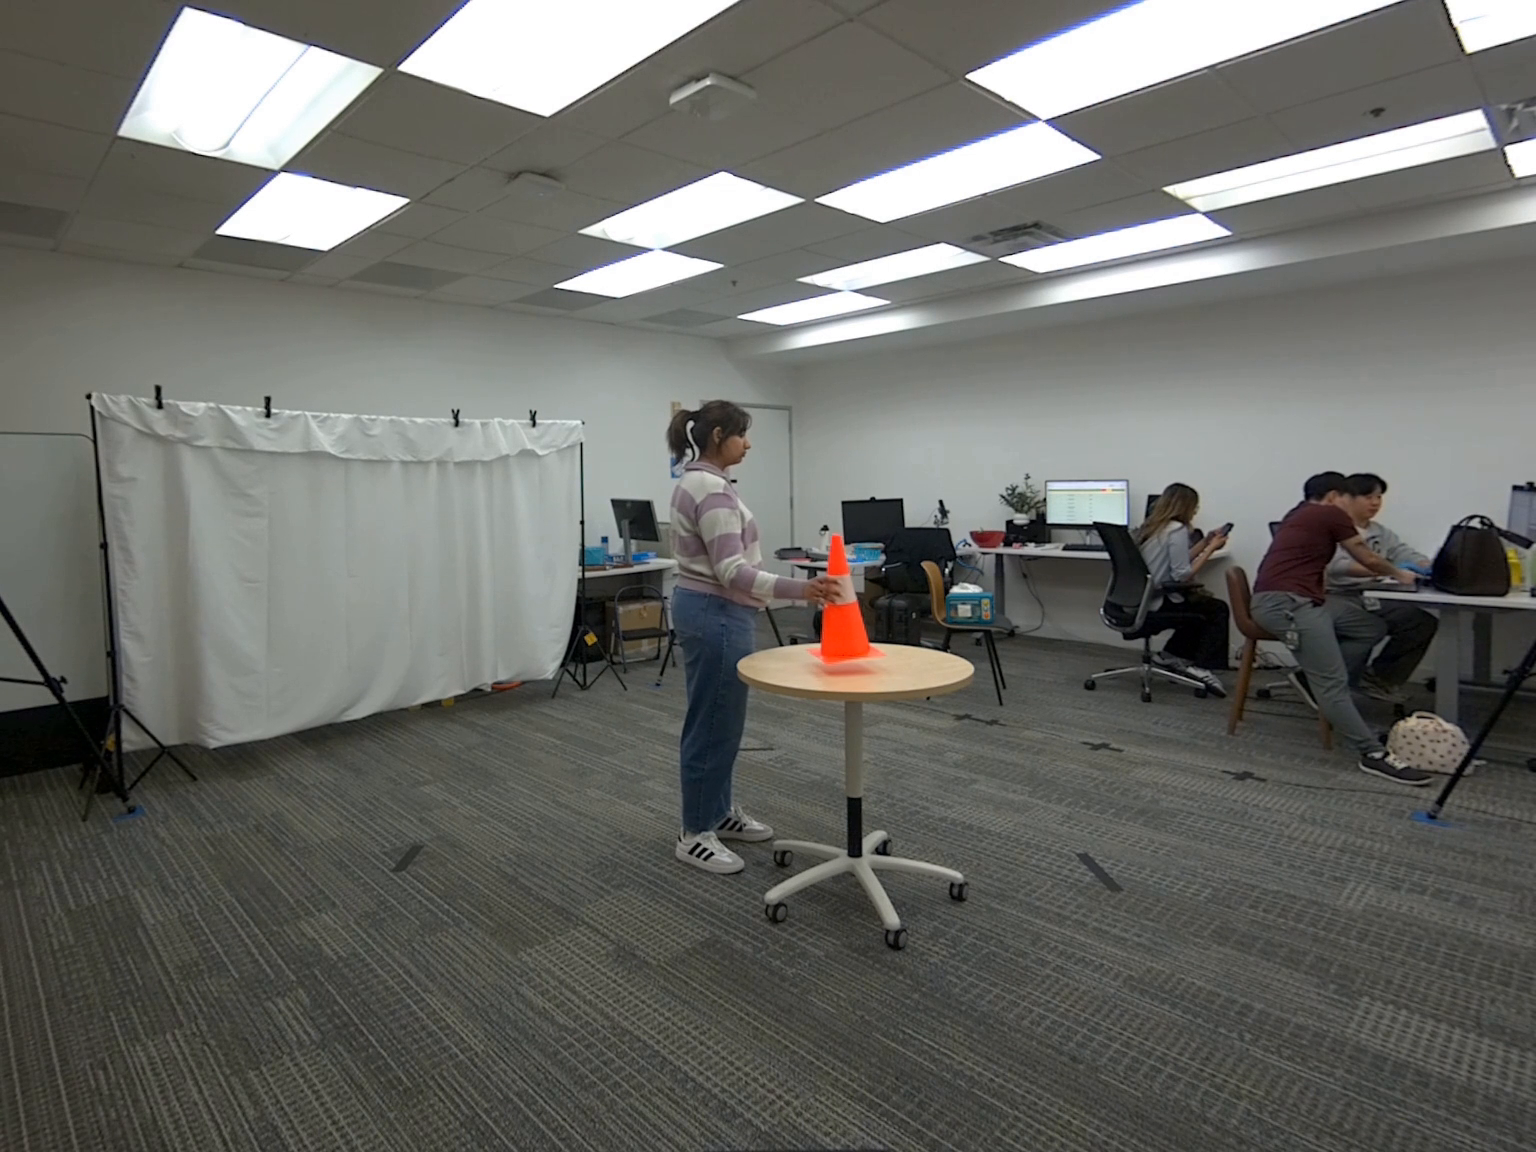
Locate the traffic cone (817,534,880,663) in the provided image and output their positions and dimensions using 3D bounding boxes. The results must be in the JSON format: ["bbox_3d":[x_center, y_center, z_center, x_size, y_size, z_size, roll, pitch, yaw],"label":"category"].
[{"bbox_3d":[0.229,0.064,2.718,0.202,0.382,0.207,-8,6,-17],"label":"traffic cone"}]
